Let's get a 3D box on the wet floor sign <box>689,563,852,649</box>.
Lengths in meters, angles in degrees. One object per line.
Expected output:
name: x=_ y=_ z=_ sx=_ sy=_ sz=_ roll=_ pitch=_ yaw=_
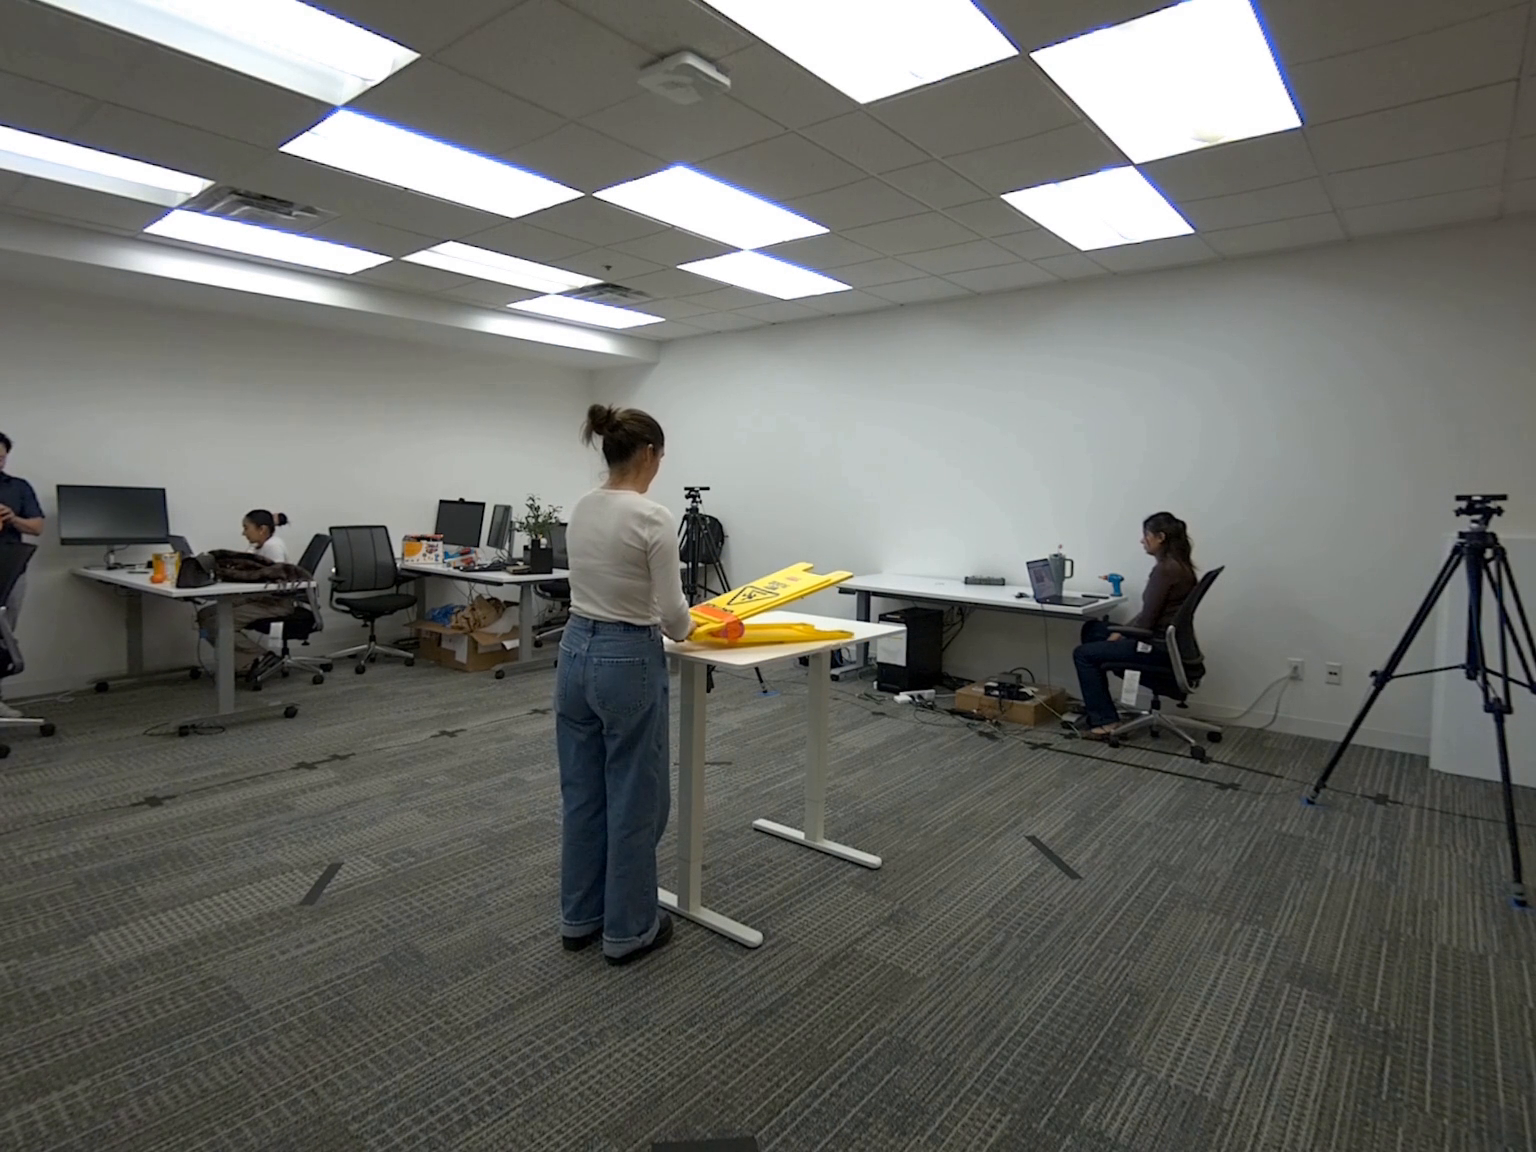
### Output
wet floor sign: x=-0.058 y=0.136 z=2.858 sx=0.630 sy=0.287 sz=0.292 roll=-9 pitch=12 yaw=-35
